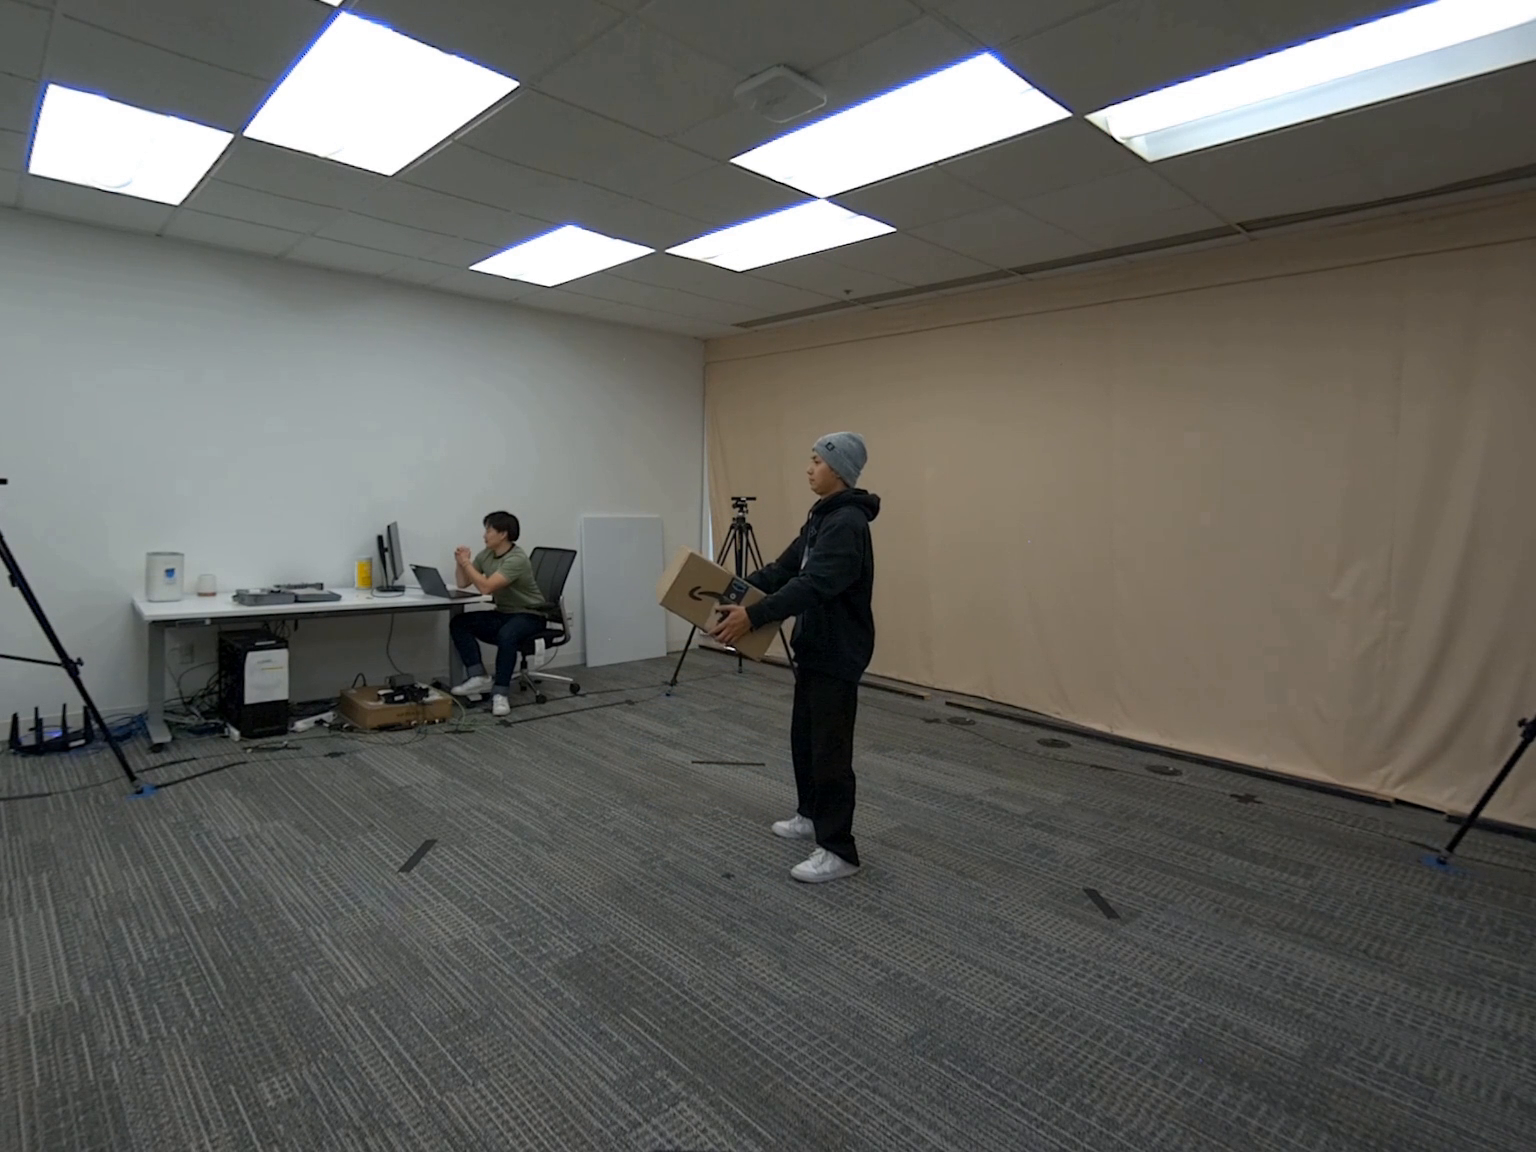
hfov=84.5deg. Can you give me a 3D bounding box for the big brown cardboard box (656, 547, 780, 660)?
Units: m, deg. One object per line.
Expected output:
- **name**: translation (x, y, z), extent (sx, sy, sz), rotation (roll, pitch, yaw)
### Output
- **big brown cardboard box**: translation (-0.203, 0.087, 3.225), extent (0.414, 0.233, 0.594), rotation (31, -1, -9)
